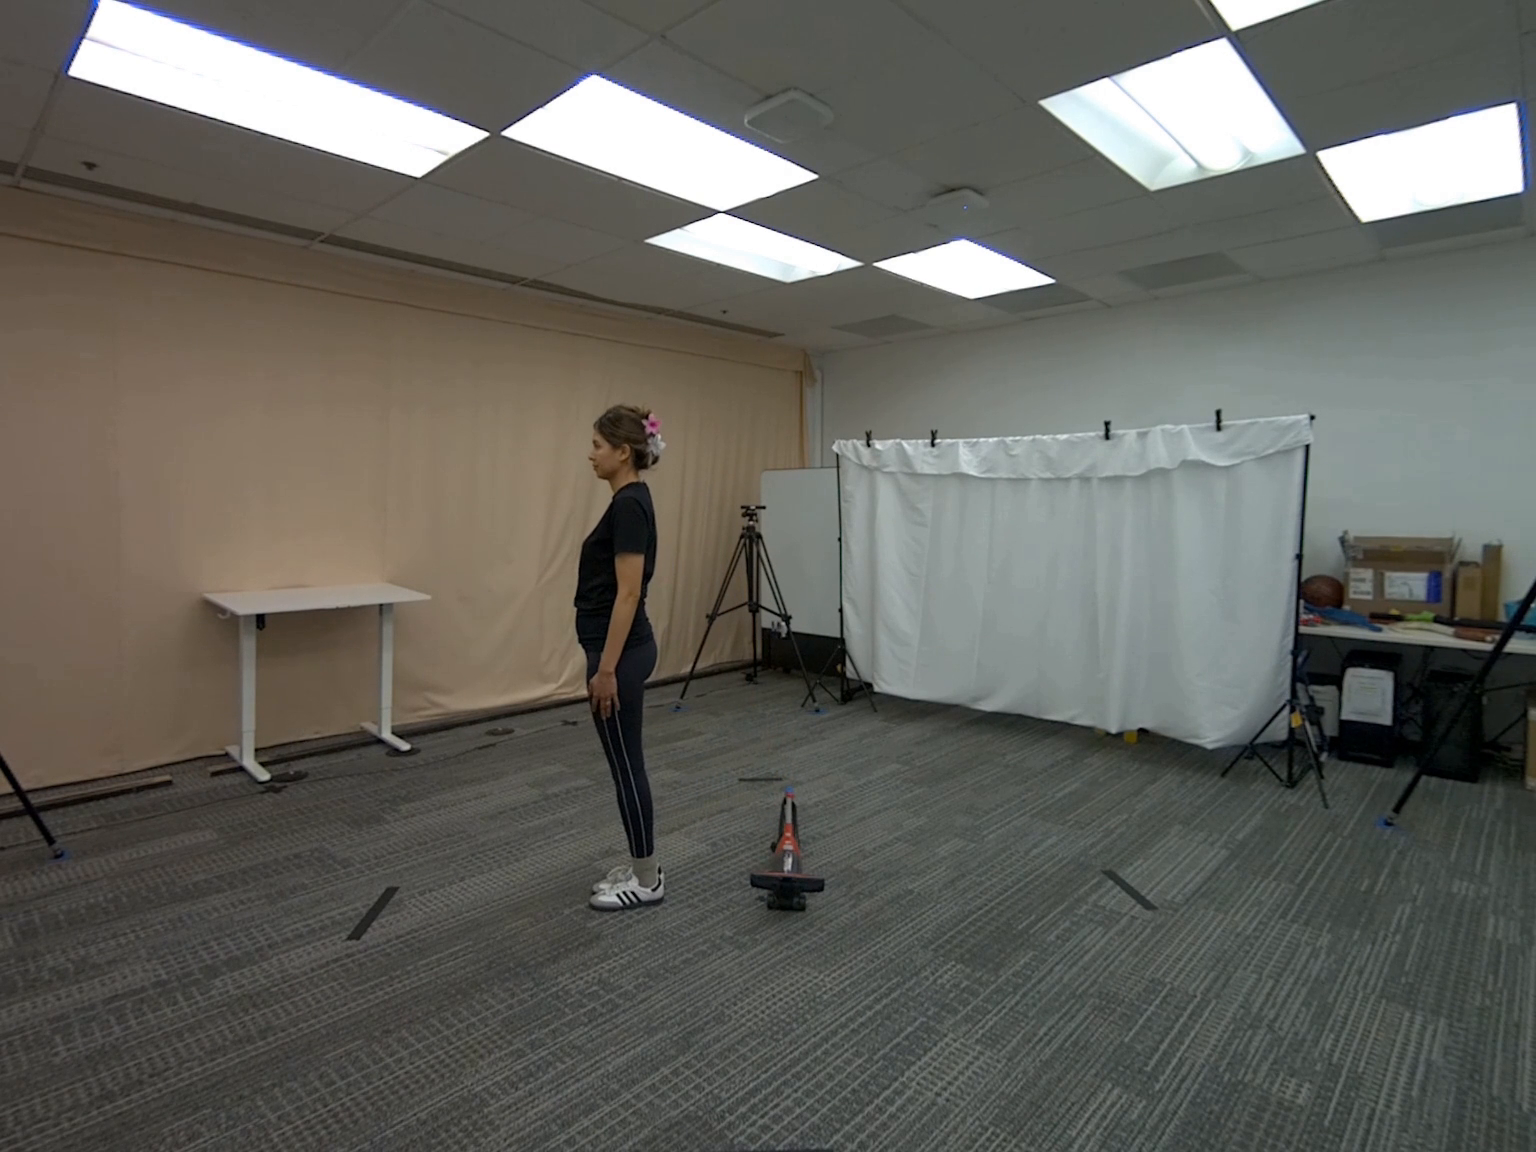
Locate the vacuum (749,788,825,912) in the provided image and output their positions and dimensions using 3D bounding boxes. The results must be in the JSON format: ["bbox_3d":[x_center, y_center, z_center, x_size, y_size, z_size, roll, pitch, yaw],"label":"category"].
[{"bbox_3d":[0.076,1.048,3.388,0.253,0.144,1.048,3,4,0],"label":"vacuum"}]
